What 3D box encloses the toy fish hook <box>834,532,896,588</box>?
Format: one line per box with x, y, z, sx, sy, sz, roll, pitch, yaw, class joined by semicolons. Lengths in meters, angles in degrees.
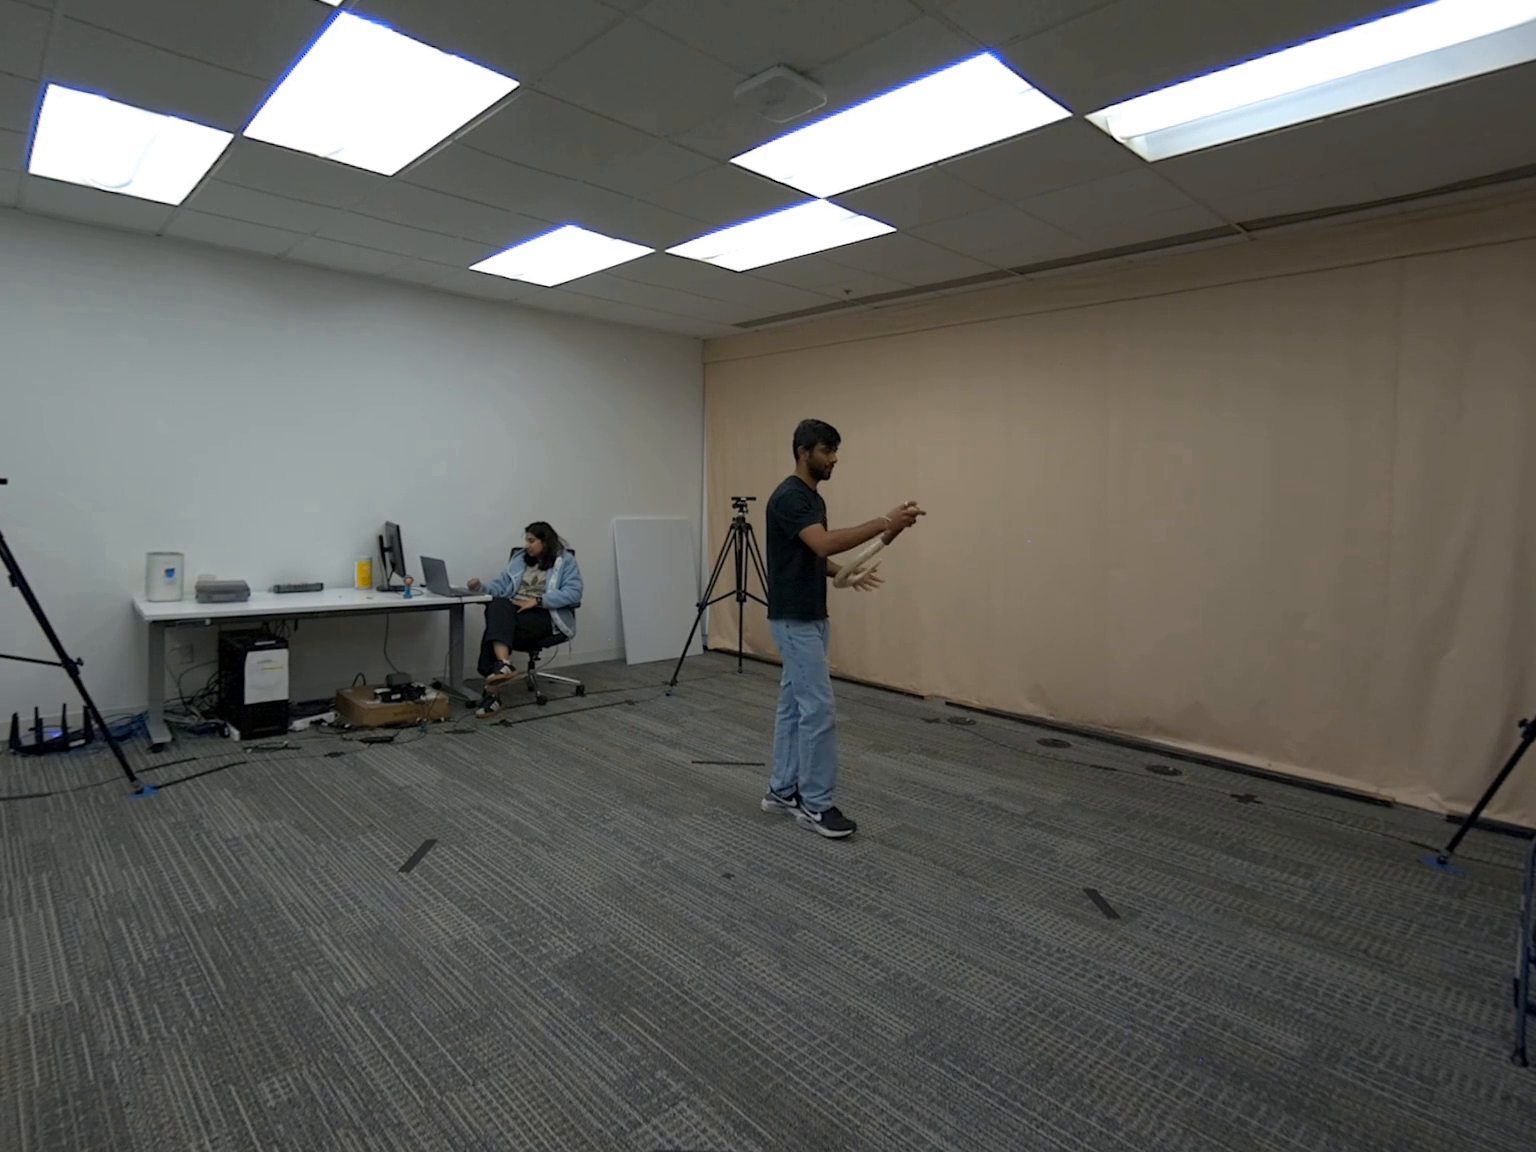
0.460;-0.116;3.510;0.507;0.049;0.220;-45;-22;28;toy fish hook
